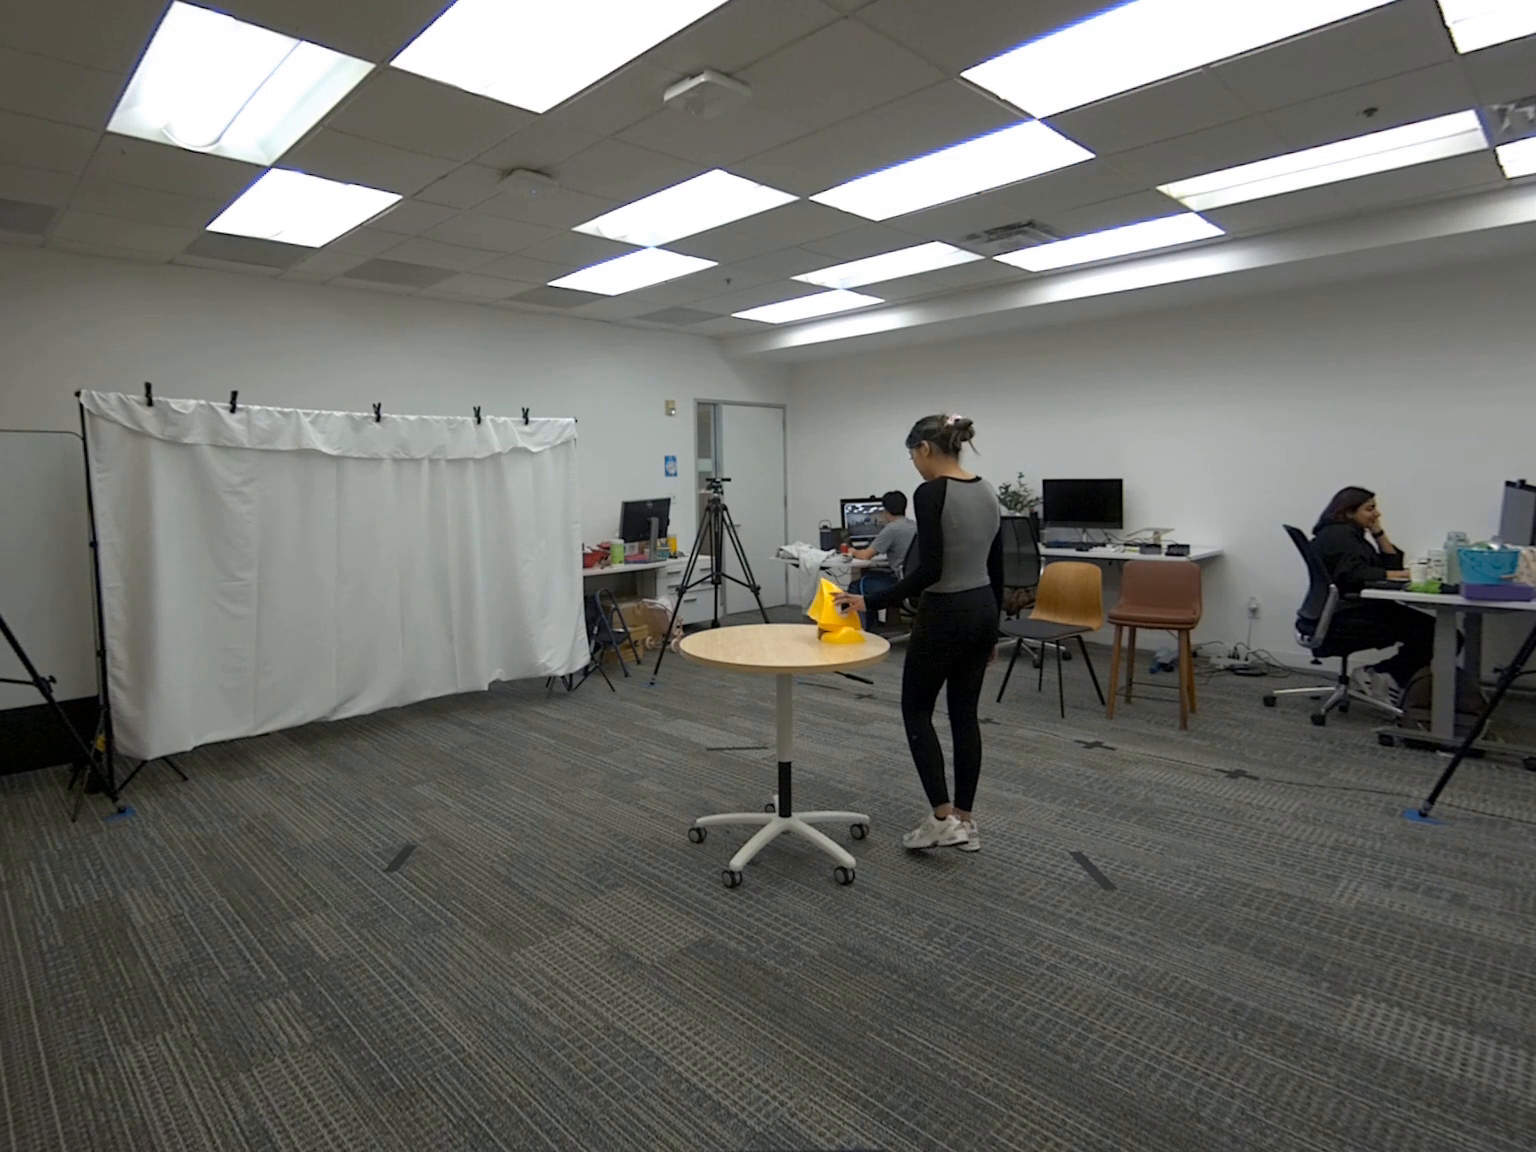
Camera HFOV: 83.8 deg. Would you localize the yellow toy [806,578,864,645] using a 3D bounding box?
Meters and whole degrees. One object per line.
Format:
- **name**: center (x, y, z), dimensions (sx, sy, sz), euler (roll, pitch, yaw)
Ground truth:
- **yellow toy**: center (0.262, 0.120, 3.198), dimensions (0.191, 0.230, 0.208), euler (-2, 5, -11)
